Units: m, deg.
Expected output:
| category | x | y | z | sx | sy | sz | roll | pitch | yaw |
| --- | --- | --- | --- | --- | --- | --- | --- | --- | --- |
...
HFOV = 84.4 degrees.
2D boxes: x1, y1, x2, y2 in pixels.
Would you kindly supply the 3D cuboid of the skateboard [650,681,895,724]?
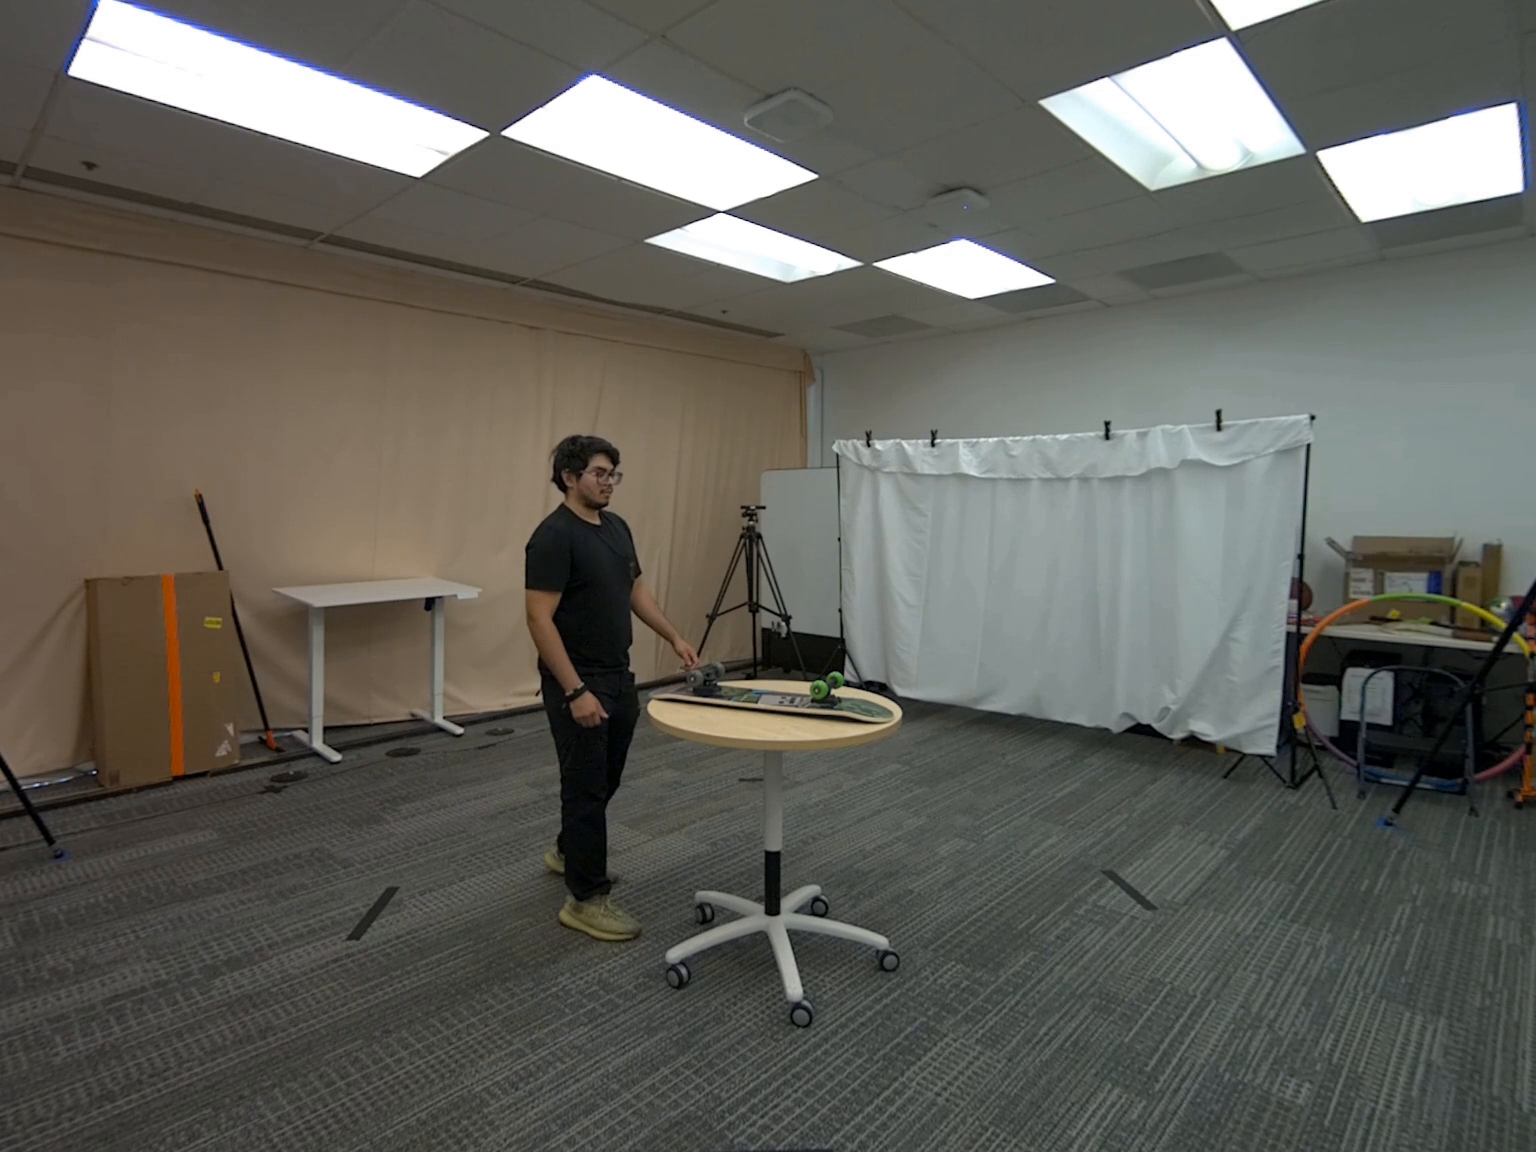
| category | x | y | z | sx | sy | sz | roll | pitch | yaw |
| --- | --- | --- | --- | --- | --- | --- | --- | --- | --- |
| skateboard | -0.010 | 0.353 | 2.546 | 0.805 | 0.110 | 0.189 | 1 | 3 | 25 |
